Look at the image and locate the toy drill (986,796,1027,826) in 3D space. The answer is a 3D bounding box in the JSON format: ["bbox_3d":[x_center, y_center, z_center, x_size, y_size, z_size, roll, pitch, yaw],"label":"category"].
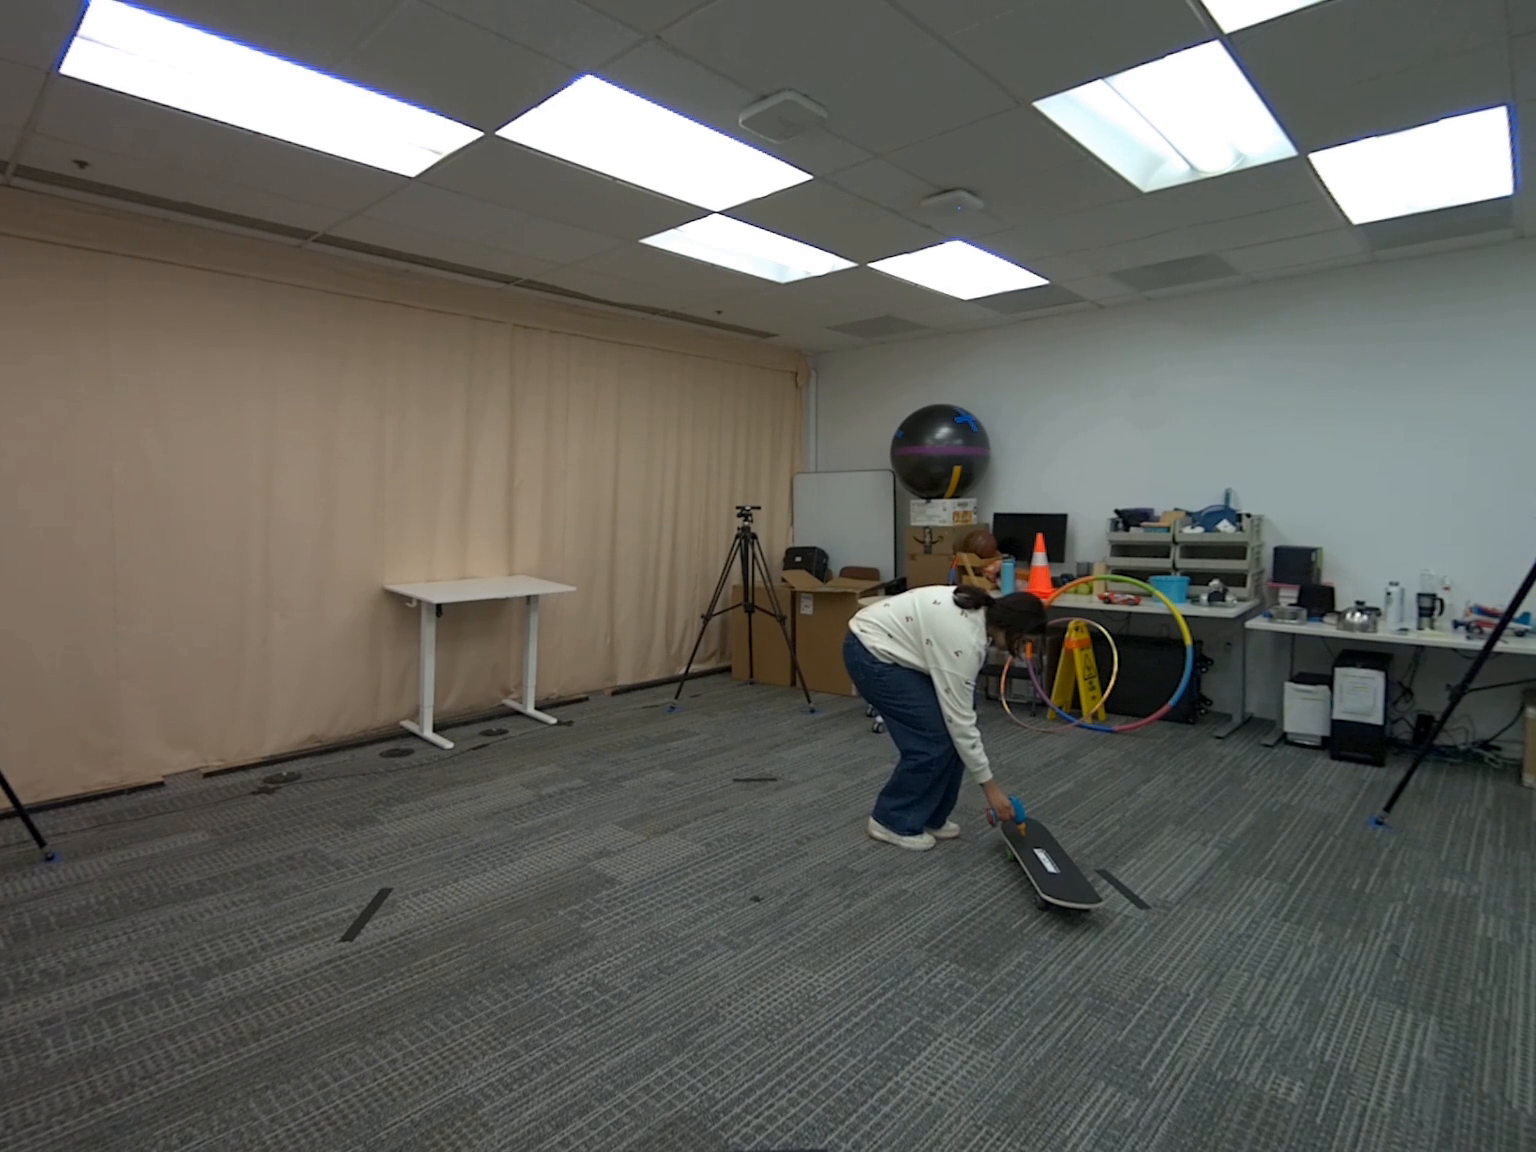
[{"bbox_3d":[0.957,0.961,3.307,0.145,0.168,0.062,-16,8,-3],"label":"toy drill"}]
